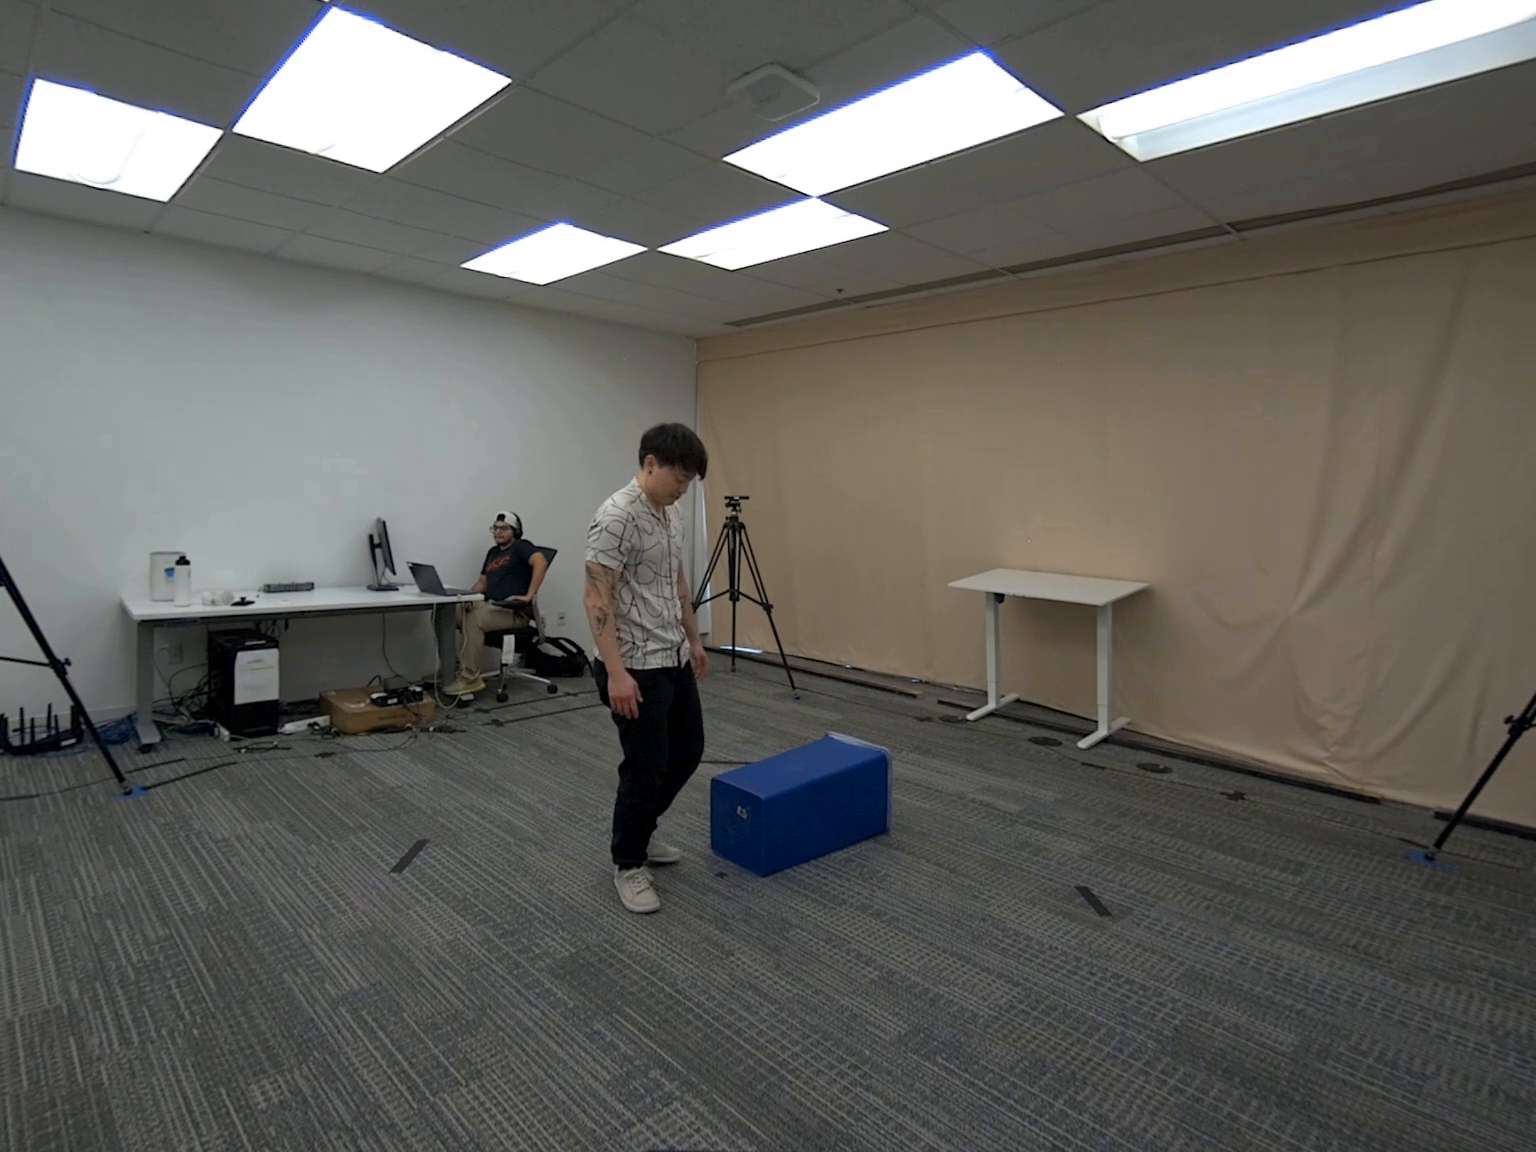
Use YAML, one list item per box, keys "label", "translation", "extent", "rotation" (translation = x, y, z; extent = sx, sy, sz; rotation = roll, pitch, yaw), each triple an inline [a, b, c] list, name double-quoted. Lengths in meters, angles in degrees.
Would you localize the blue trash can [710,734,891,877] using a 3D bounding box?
- label: "blue trash can"
  translation: [0.123, 0.910, 3.412]
  extent: [0.698, 0.377, 0.384]
  rotation: [-5, 7, -41]
